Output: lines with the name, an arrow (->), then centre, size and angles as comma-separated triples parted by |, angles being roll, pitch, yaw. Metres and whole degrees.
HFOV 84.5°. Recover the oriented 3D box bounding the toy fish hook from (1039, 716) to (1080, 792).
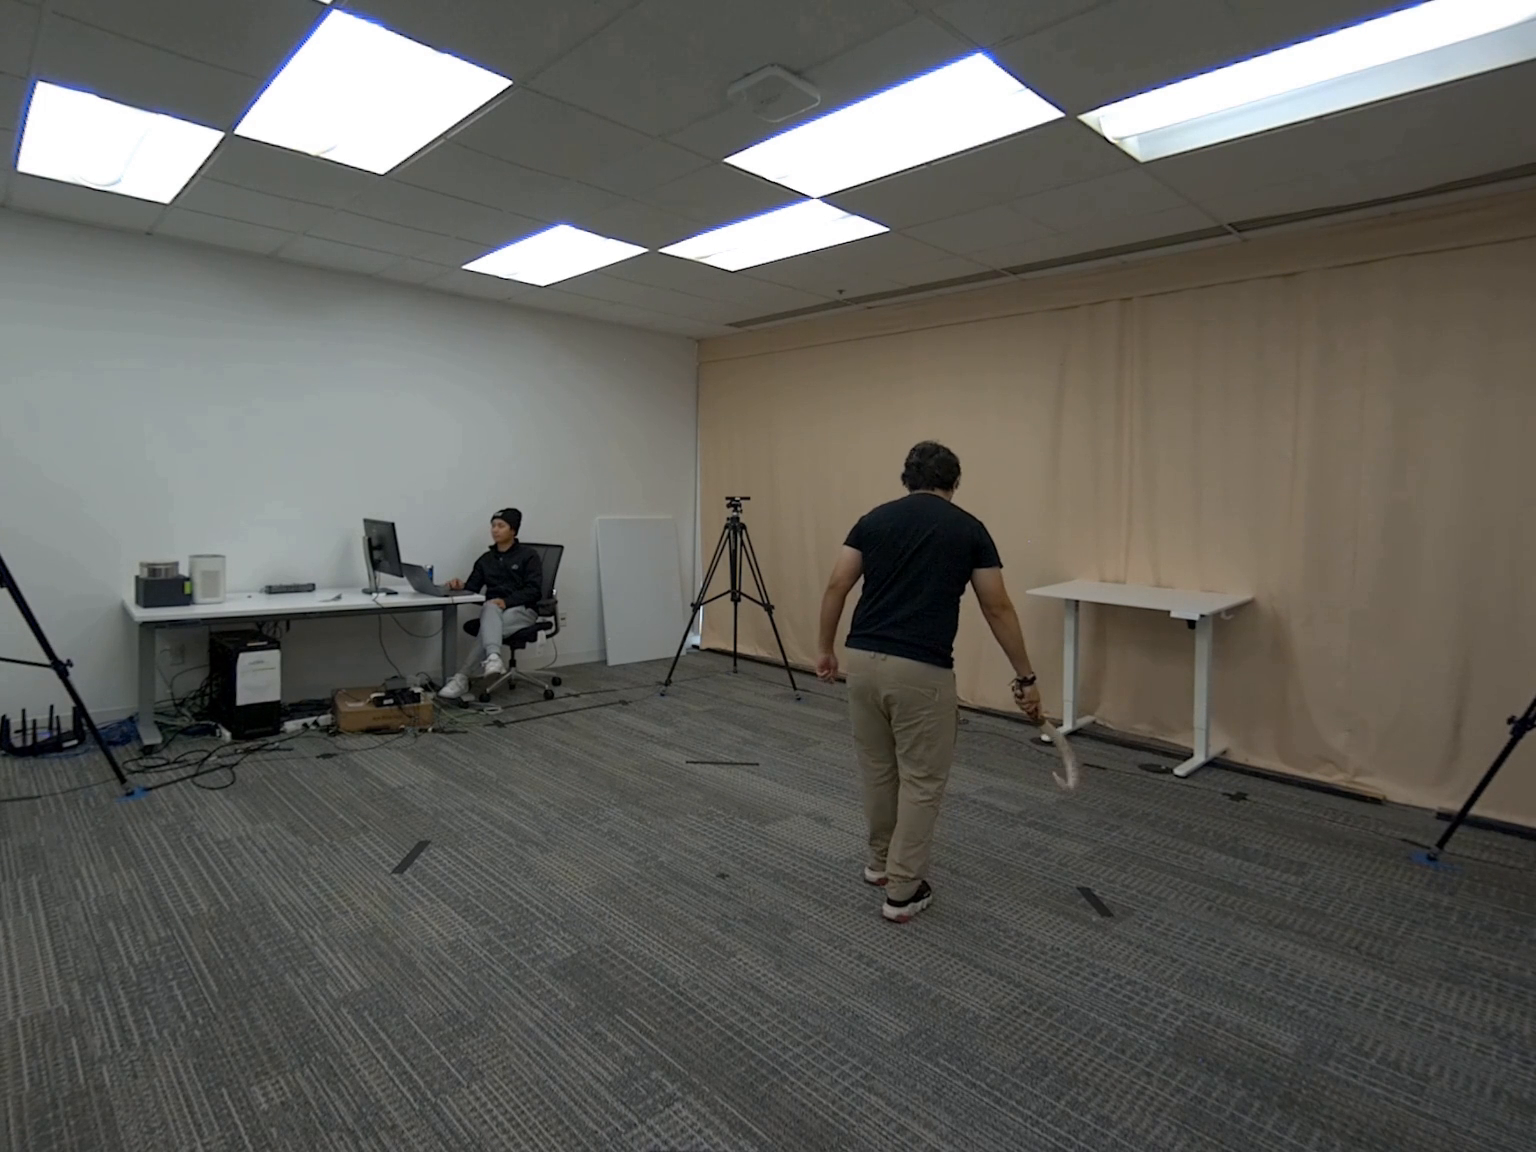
toy fish hook -> 0.948, 0.562, 2.924 | 0.049, 0.494, 0.228 | -27, 31, 29
